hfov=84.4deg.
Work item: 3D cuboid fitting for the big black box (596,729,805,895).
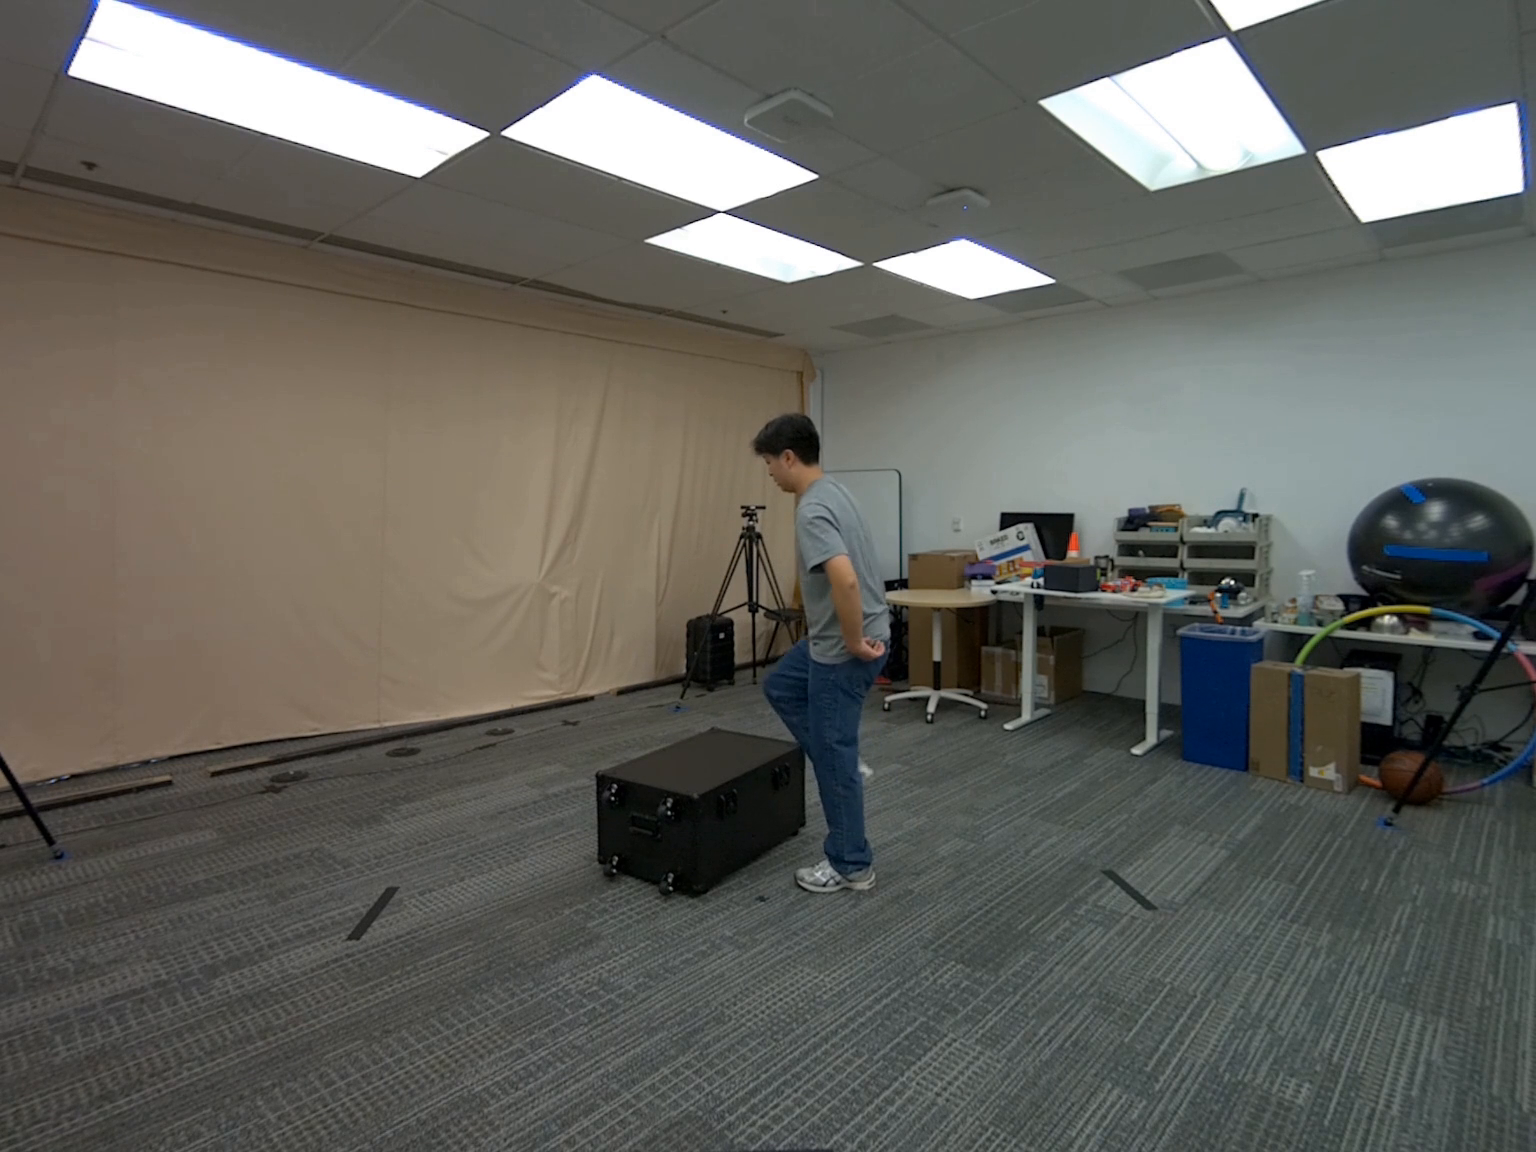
[{"bbox_3d":[-0.264,0.922,3.383,0.537,0.395,0.837,3,5,33],"label":"big black box"}]
